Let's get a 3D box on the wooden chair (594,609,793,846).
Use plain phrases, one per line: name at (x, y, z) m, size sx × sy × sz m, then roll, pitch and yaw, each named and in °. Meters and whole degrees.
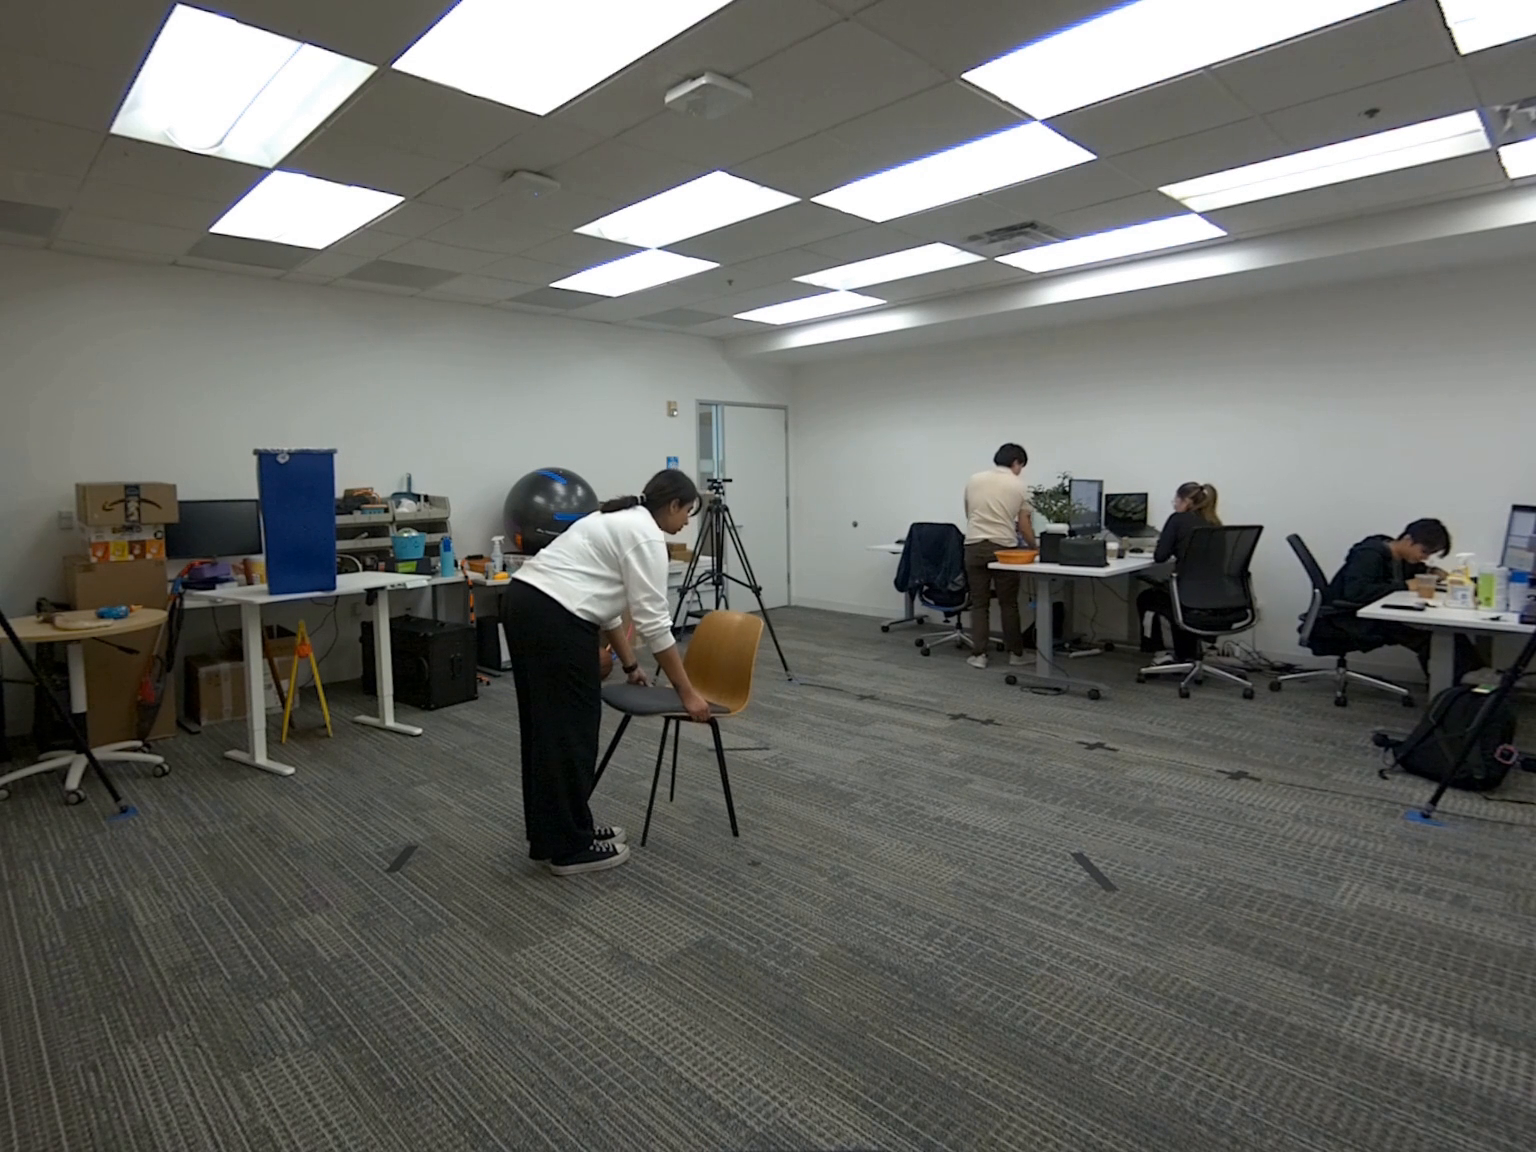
wooden chair at (-0.364, 0.527, 3.327) m, size 0.505 × 0.880 × 0.493 m, roll 15°, pitch -5°, yaw -40°
